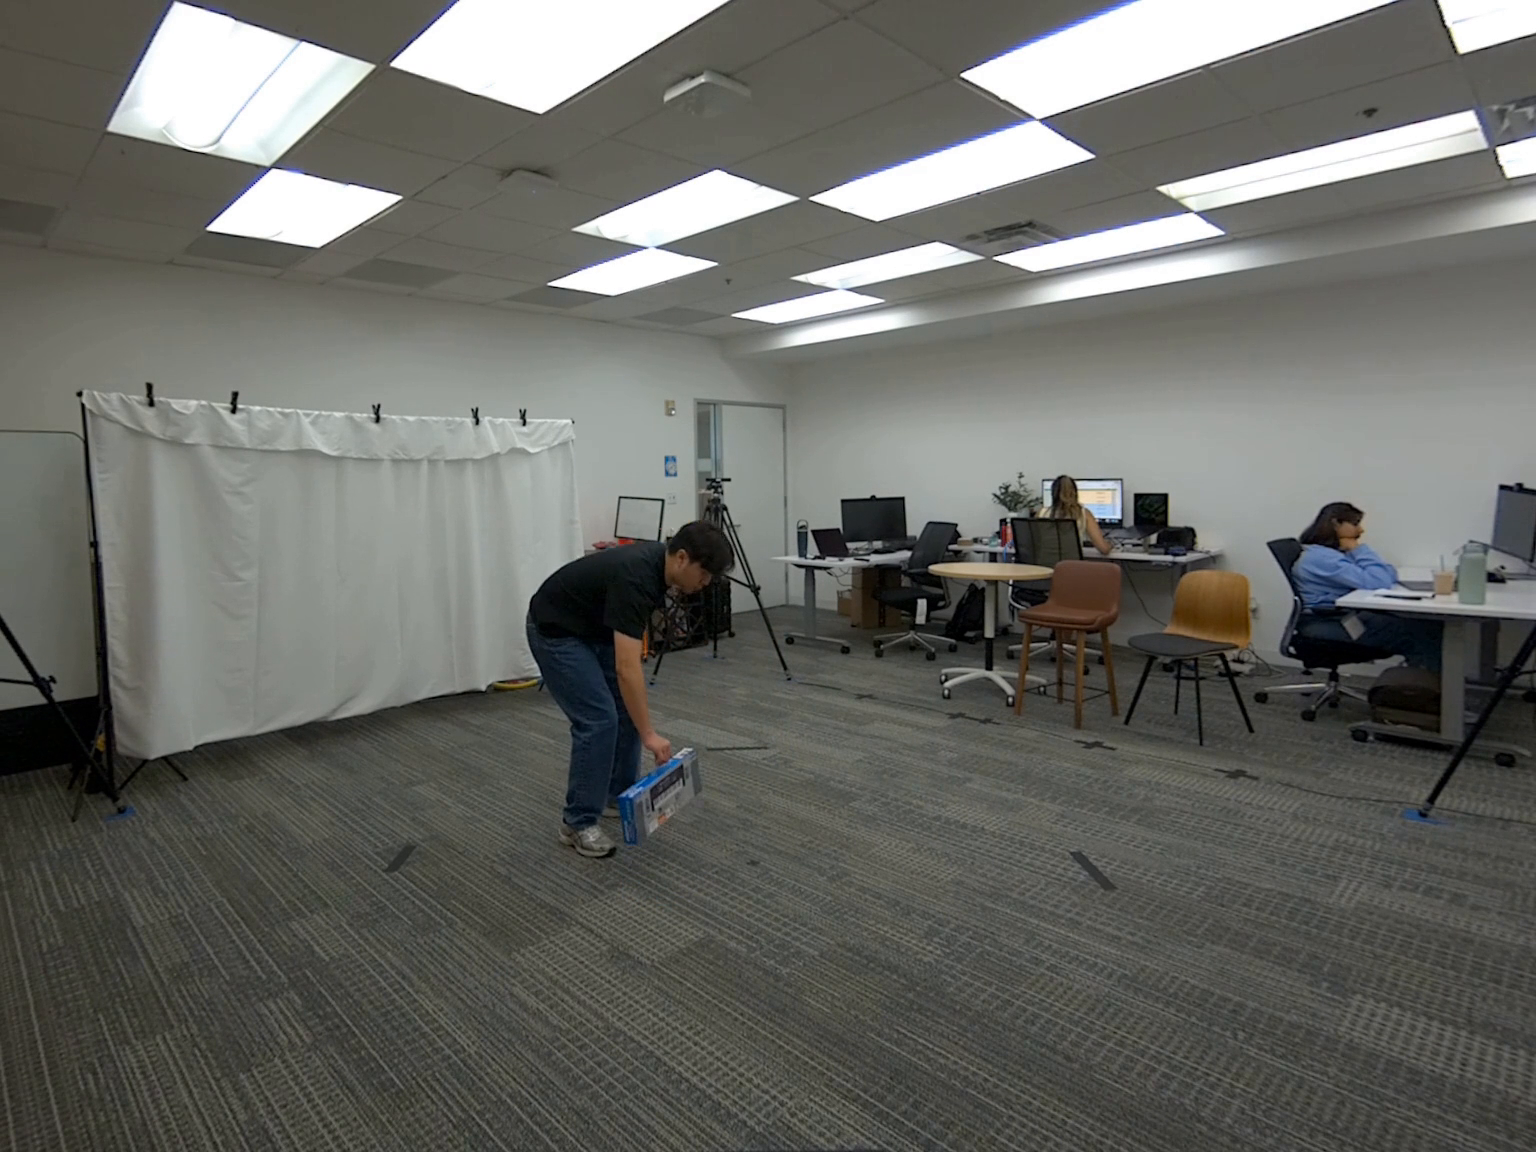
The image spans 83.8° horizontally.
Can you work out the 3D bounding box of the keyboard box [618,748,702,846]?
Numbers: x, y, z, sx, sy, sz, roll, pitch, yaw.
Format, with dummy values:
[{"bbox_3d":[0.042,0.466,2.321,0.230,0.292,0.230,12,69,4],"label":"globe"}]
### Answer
[{"bbox_3d":[-0.380,0.785,3.081,0.060,0.174,0.431,-2,11,26],"label":"keyboard box"}]
